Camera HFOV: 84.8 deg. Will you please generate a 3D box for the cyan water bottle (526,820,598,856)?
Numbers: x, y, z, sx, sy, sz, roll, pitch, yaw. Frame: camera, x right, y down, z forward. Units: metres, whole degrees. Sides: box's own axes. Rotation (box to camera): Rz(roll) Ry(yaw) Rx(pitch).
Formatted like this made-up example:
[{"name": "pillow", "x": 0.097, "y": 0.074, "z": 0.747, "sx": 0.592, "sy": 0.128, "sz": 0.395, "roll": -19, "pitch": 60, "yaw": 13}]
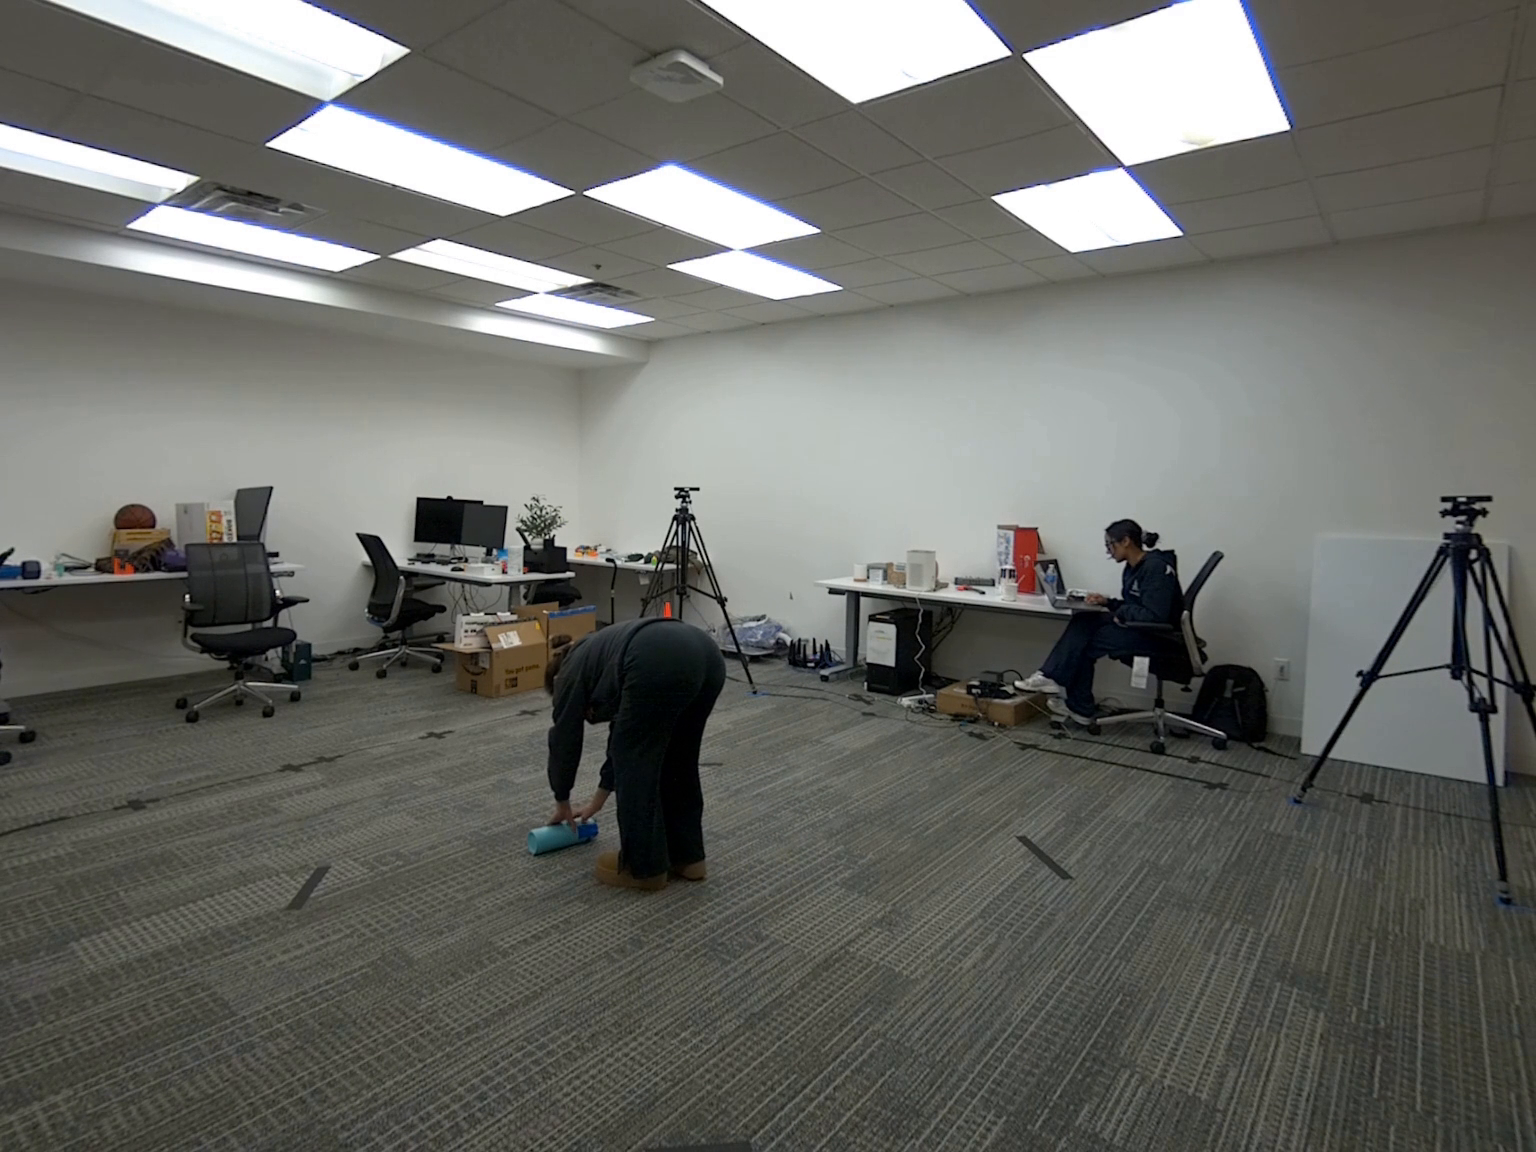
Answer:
[{"name": "cyan water bottle", "x": -0.786, "y": 1.000, "z": 3.286, "sx": 0.275, "sy": 0.092, "sz": 0.095, "roll": -2, "pitch": 5, "yaw": -37}]
